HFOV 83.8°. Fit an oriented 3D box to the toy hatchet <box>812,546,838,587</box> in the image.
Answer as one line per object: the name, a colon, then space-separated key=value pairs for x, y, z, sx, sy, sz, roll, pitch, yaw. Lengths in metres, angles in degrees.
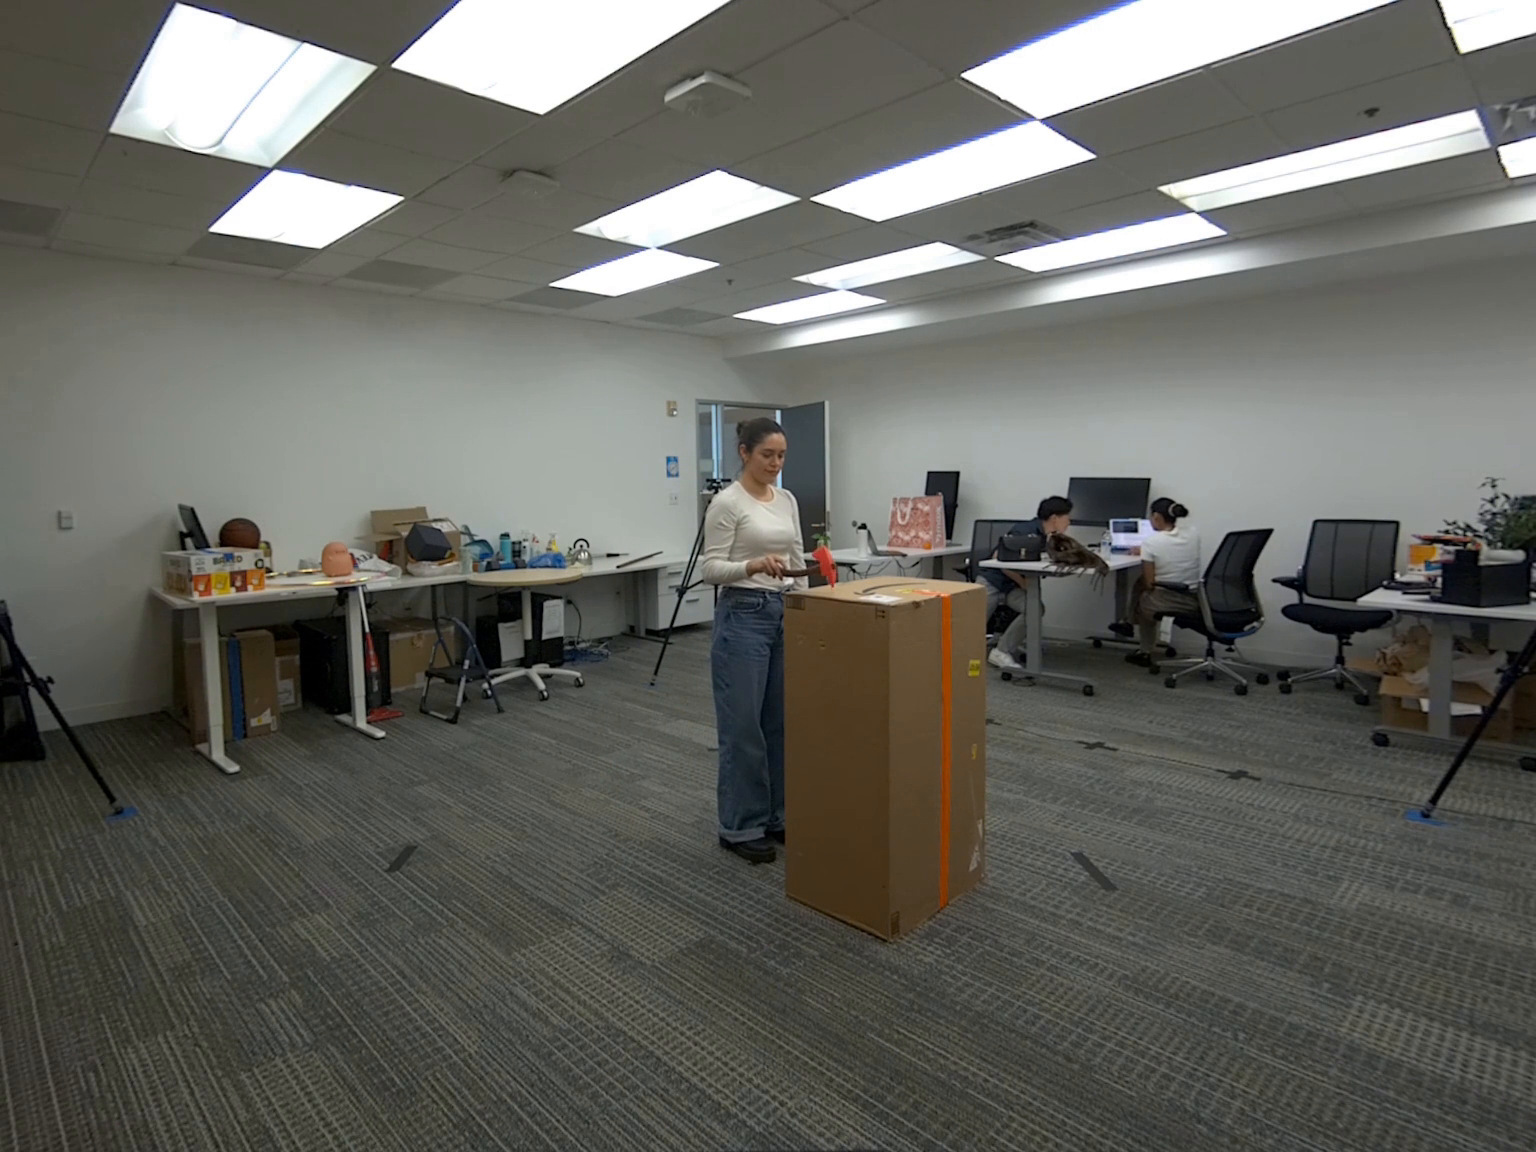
toy hatchet: x=0.123 y=-0.046 z=2.835 sx=0.029 sy=0.129 sz=0.279 roll=-15 pitch=19 yaw=-42
